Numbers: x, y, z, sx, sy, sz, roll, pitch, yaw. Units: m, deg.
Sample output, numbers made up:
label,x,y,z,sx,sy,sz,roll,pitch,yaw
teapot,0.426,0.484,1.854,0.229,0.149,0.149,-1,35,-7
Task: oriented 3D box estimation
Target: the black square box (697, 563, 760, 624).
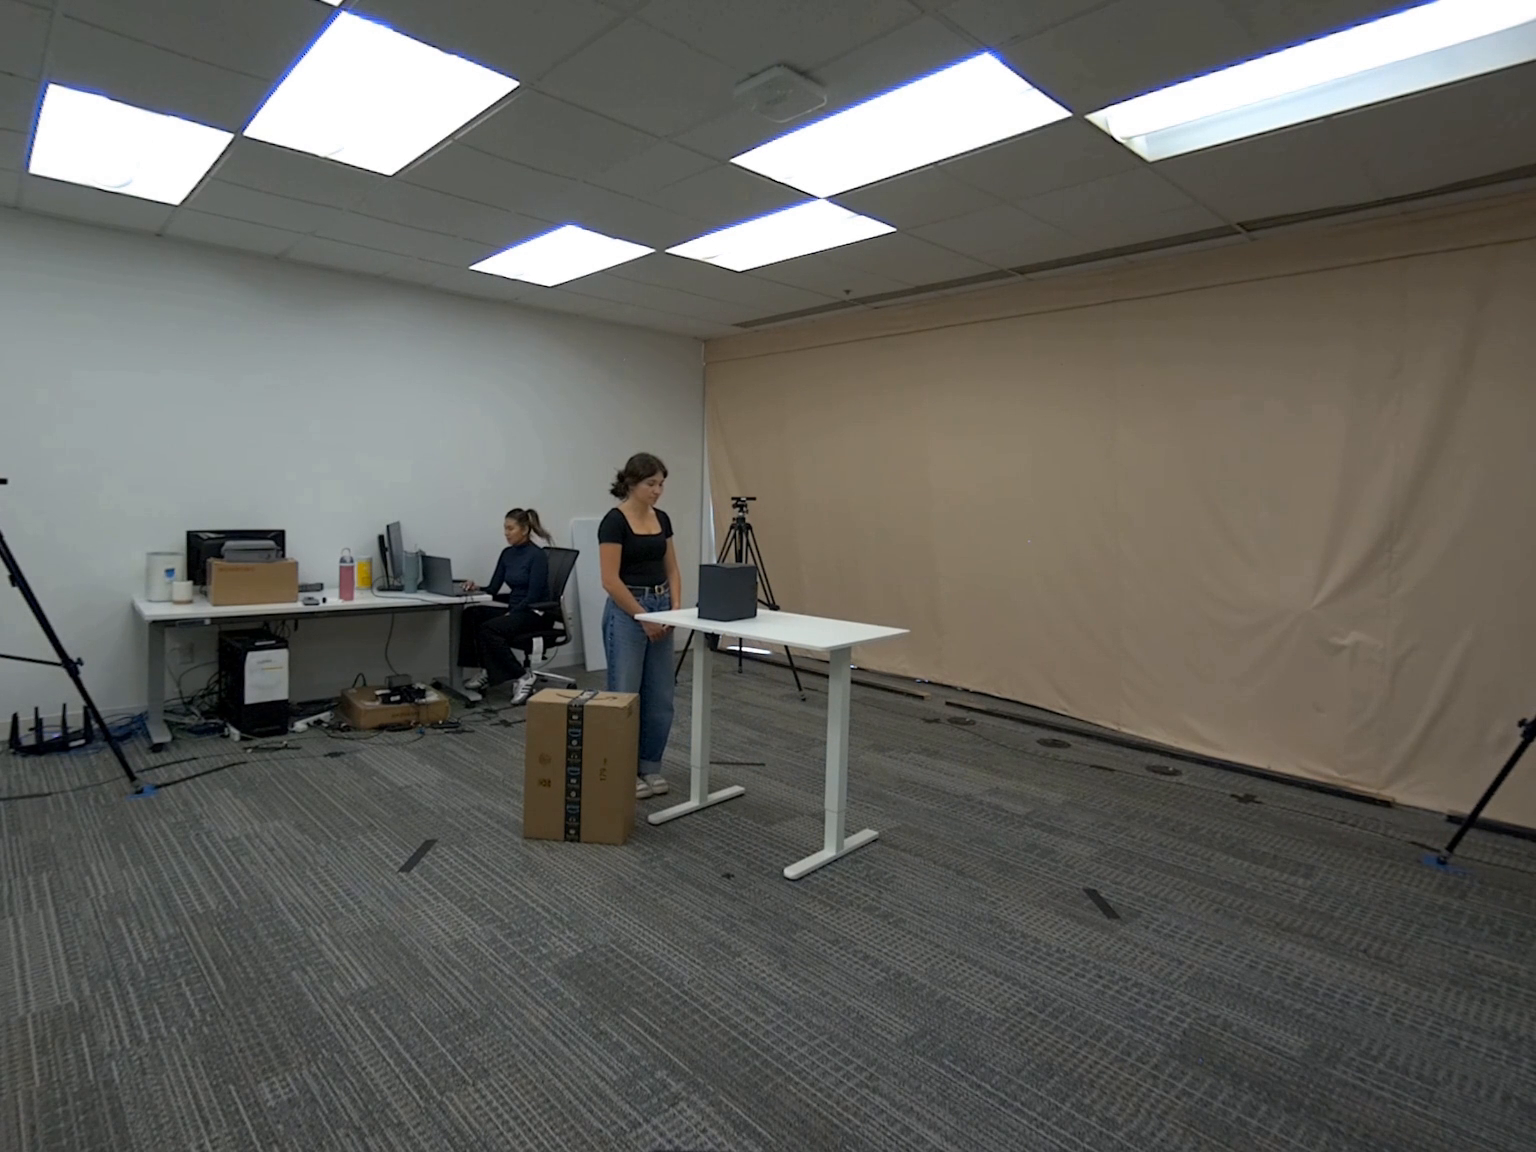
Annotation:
label,x,y,z,sx,sy,sz,roll,pitch,yaw
black square box,-0.167,0.067,3.588,0.160,0.227,0.212,4,5,36
